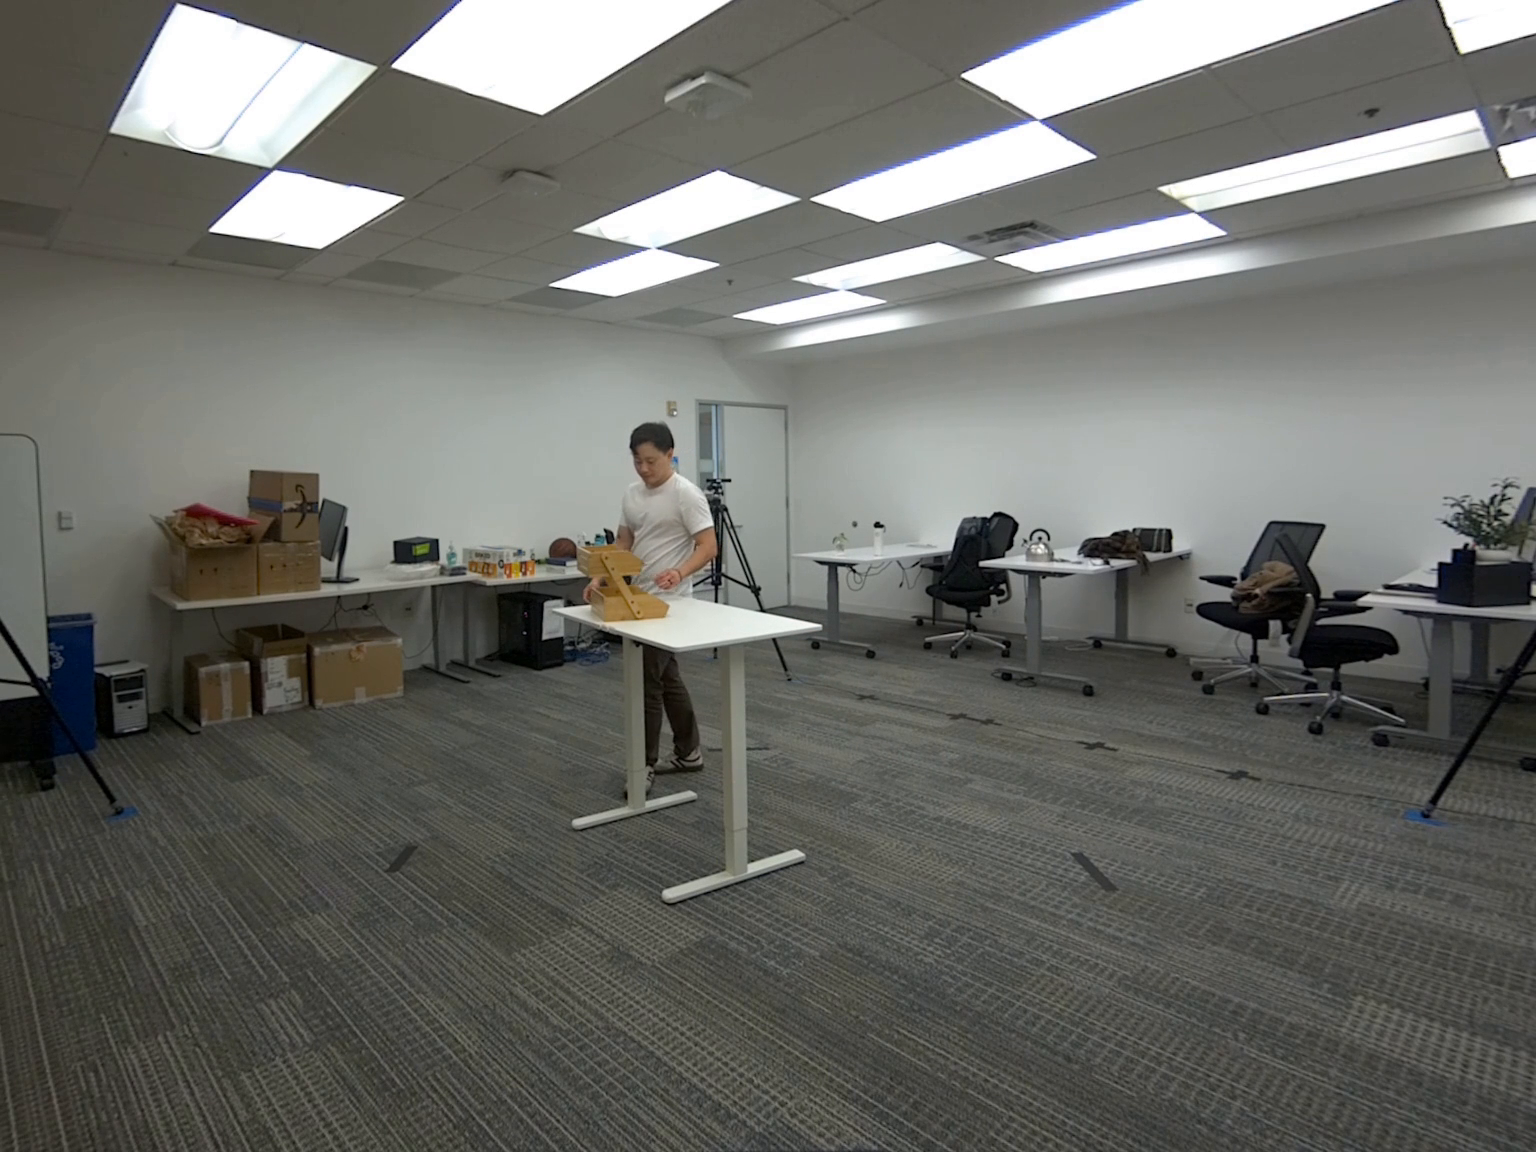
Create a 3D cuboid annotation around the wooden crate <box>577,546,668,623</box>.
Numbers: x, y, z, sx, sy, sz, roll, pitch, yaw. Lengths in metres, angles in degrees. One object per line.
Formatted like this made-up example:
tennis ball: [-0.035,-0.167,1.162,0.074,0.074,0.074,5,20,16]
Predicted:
wooden crate: [-0.568,0.020,3.321,0.297,0.272,0.331,-4,5,-20]
